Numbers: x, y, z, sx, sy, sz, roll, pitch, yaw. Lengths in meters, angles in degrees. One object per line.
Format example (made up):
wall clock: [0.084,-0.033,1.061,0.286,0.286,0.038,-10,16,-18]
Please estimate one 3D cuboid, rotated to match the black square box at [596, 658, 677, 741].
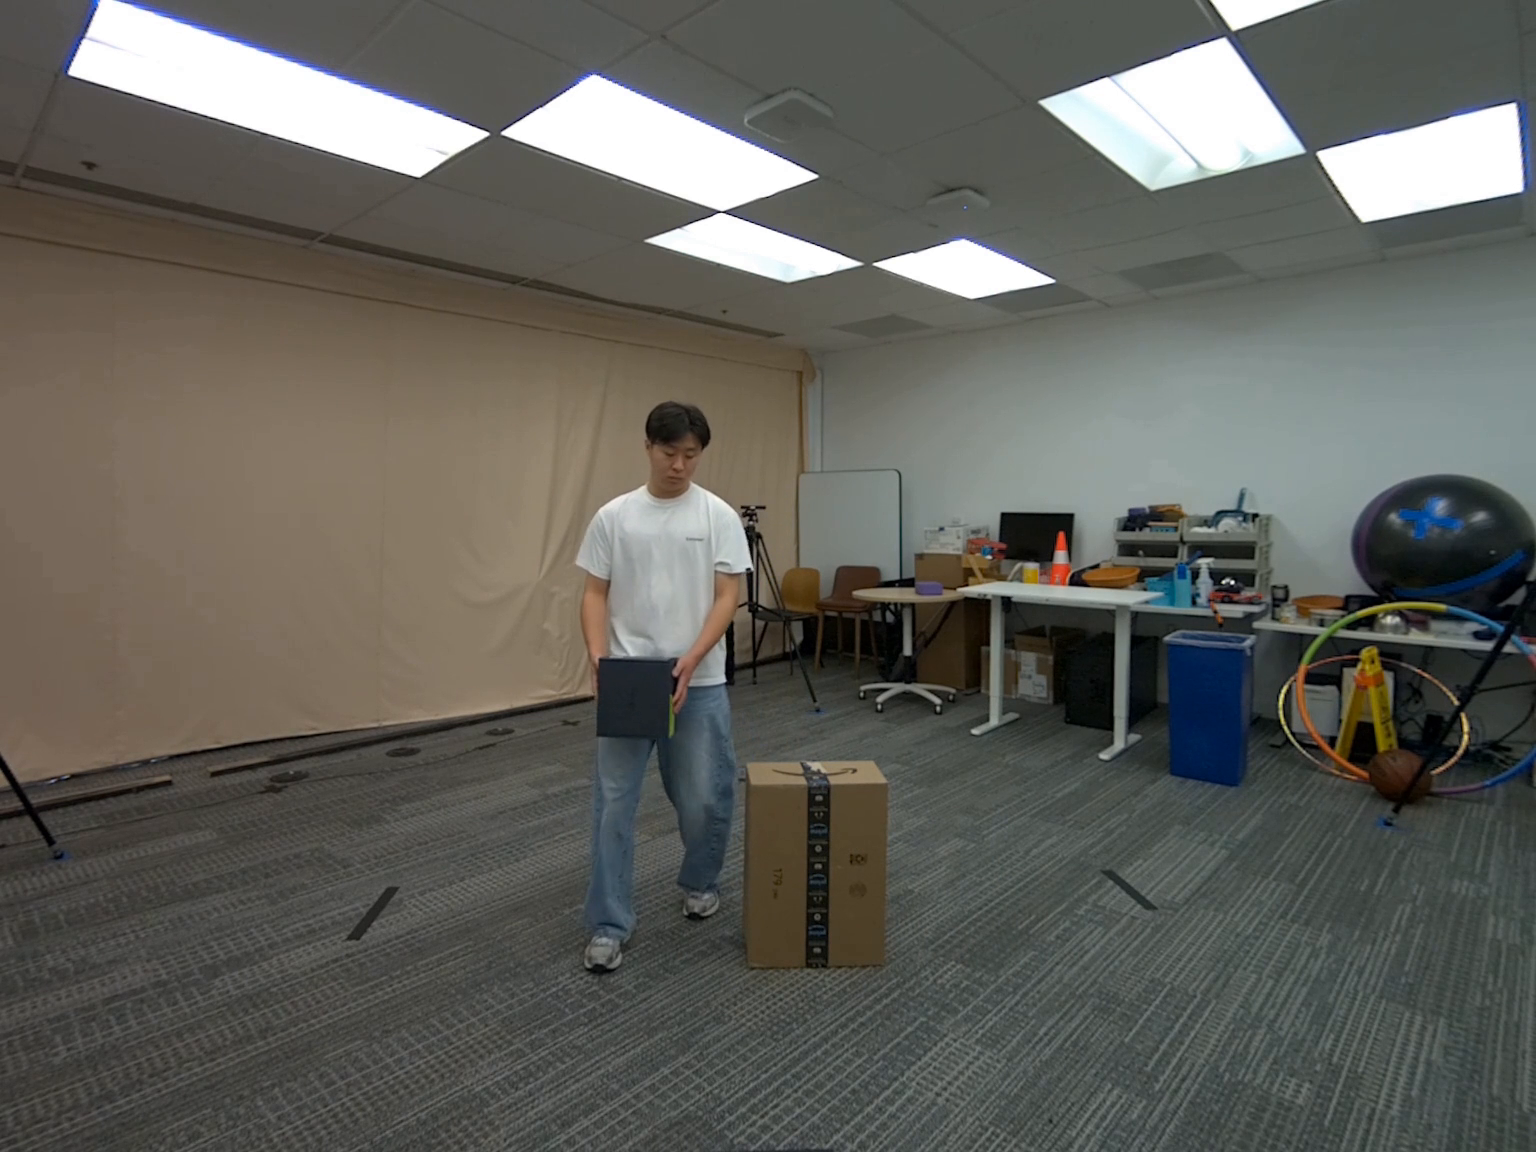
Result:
black square box: [-0.375,0.350,2.515,0.218,0.228,0.155,3,0,5]
